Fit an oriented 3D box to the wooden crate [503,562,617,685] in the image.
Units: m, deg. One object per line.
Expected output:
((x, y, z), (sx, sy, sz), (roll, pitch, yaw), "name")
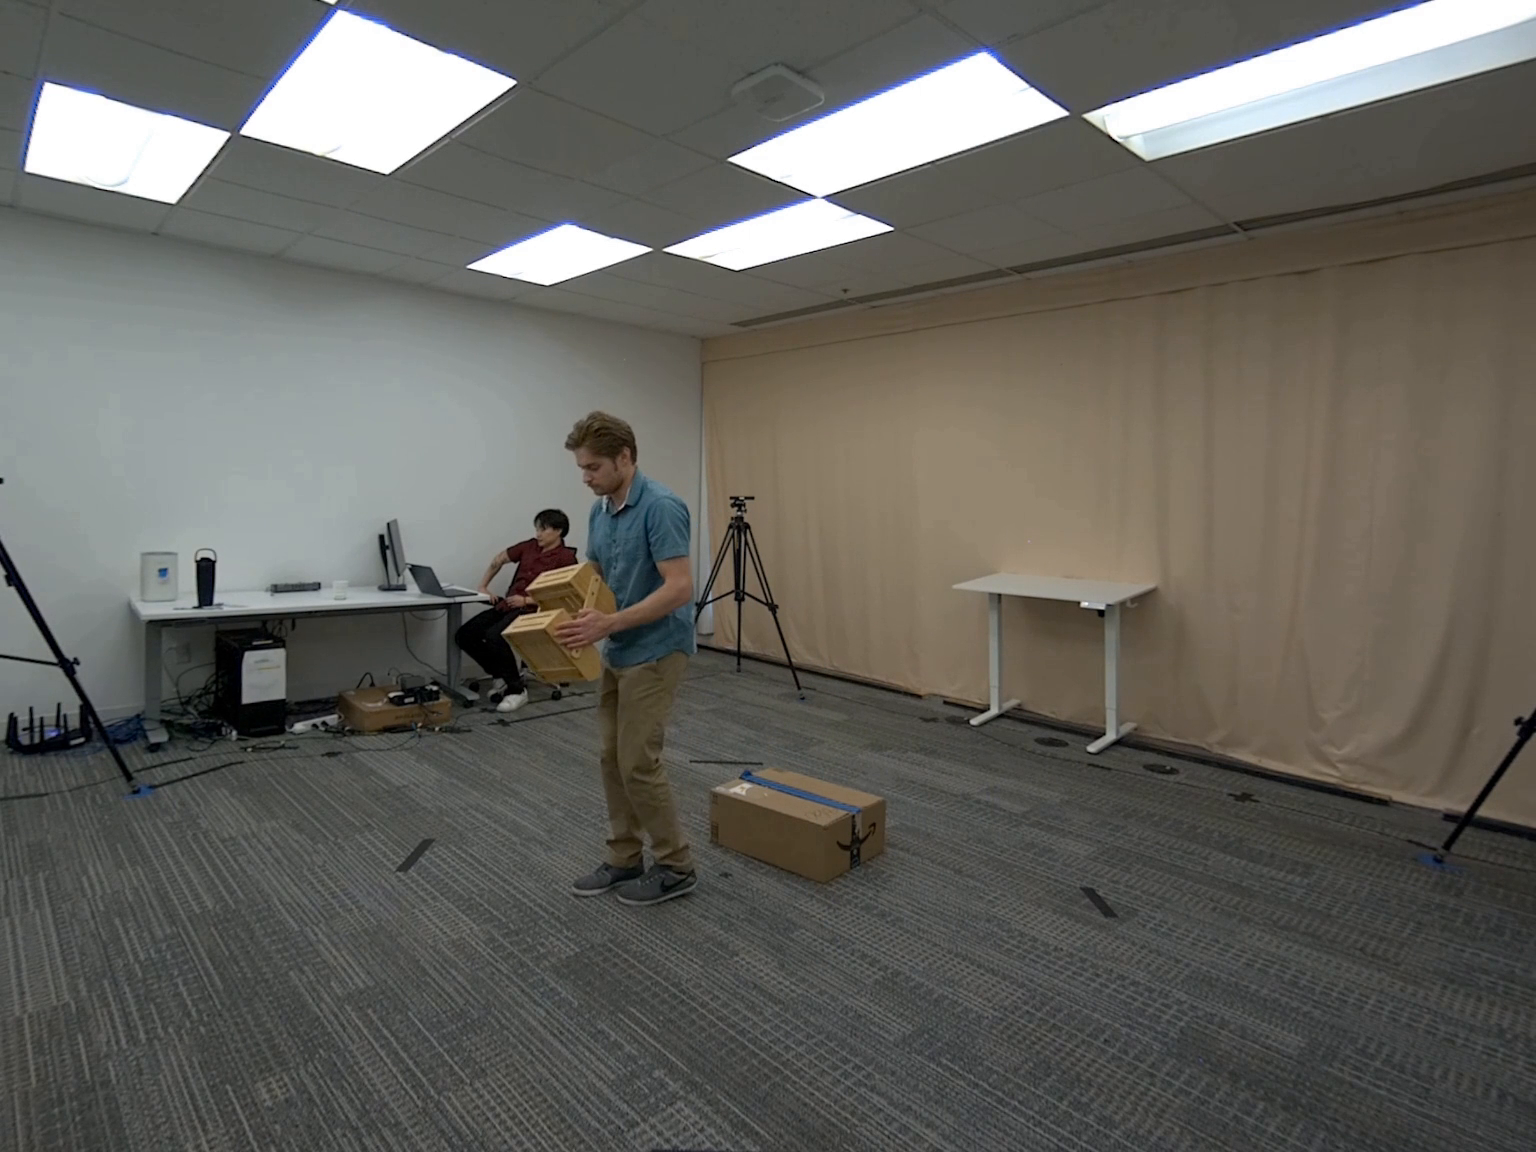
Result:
((-0.666, 0.168, 2.805), (0.331, 0.295, 0.274), (-10, 34, 46), "wooden crate")
